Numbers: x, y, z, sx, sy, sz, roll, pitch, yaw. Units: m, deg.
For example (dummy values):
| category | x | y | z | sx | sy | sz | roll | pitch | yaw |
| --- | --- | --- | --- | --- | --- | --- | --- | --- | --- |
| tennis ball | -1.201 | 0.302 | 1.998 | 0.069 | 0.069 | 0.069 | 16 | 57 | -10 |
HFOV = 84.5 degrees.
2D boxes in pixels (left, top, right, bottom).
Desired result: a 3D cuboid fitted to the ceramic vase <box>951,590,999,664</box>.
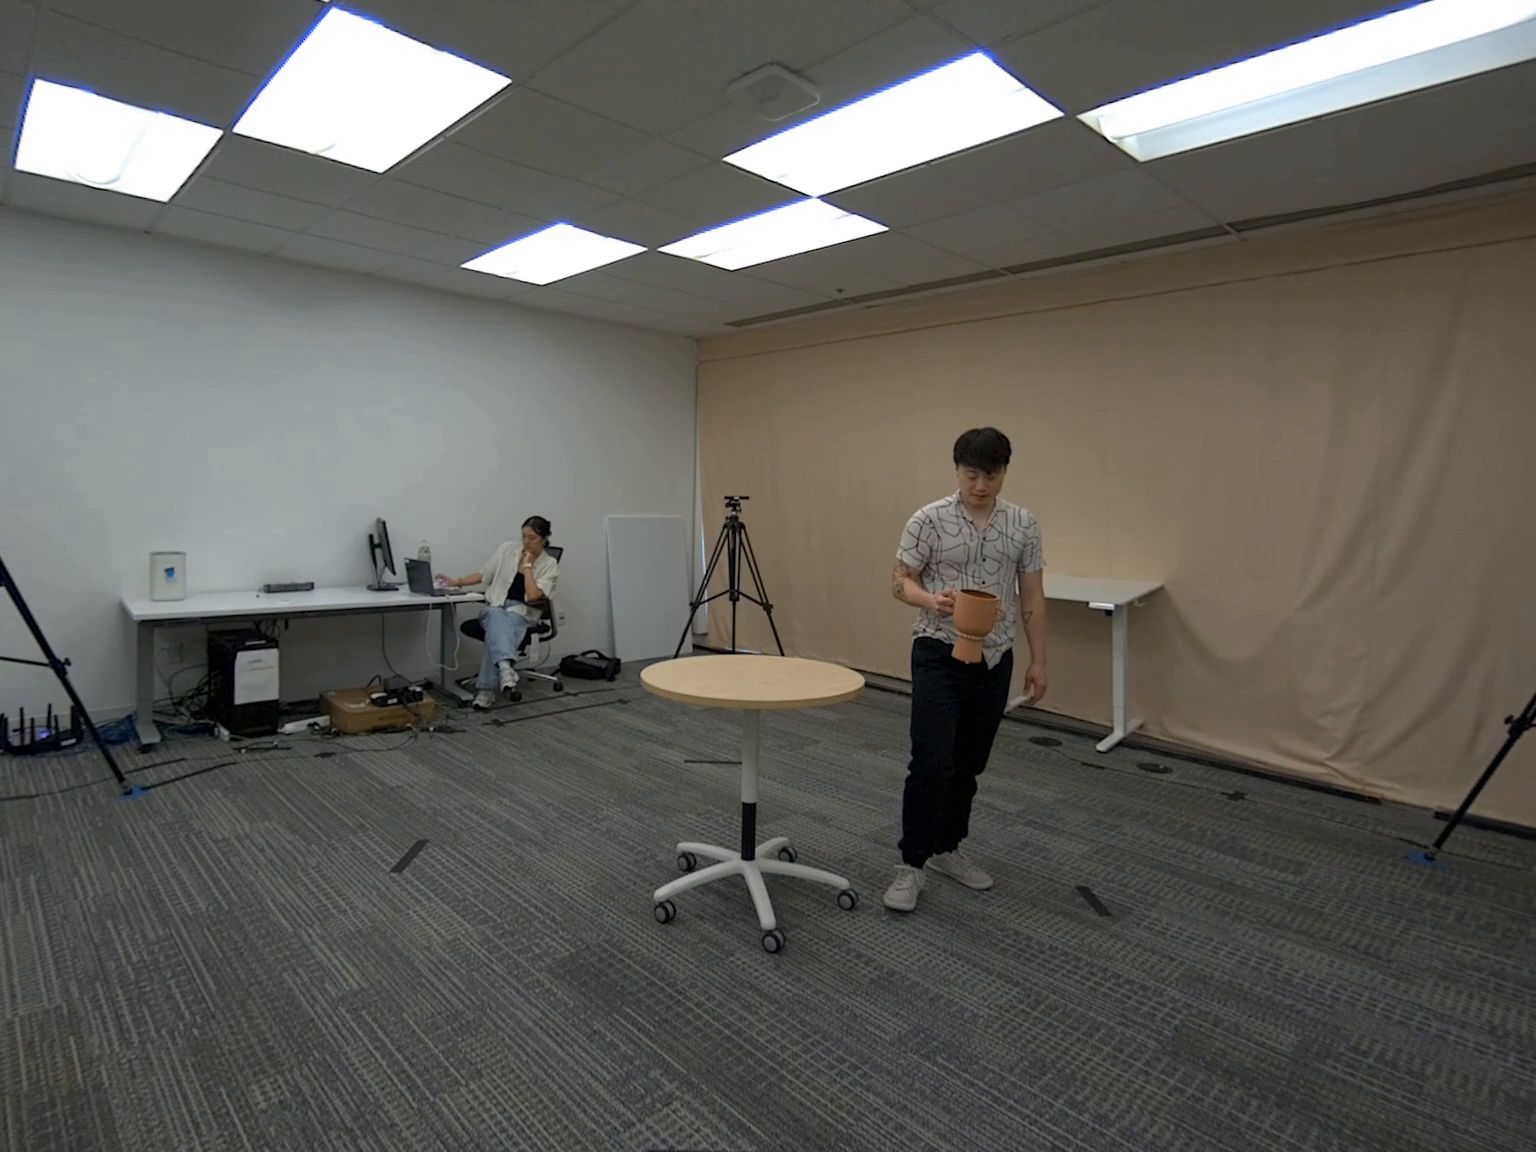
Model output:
| category | x | y | z | sx | sy | sz | roll | pitch | yaw |
| --- | --- | --- | --- | --- | --- | --- | --- | --- | --- |
| ceramic vase | 0.667 | 0.165 | 2.761 | 0.133 | 0.218 | 0.162 | 4 | 12 | -18 |
